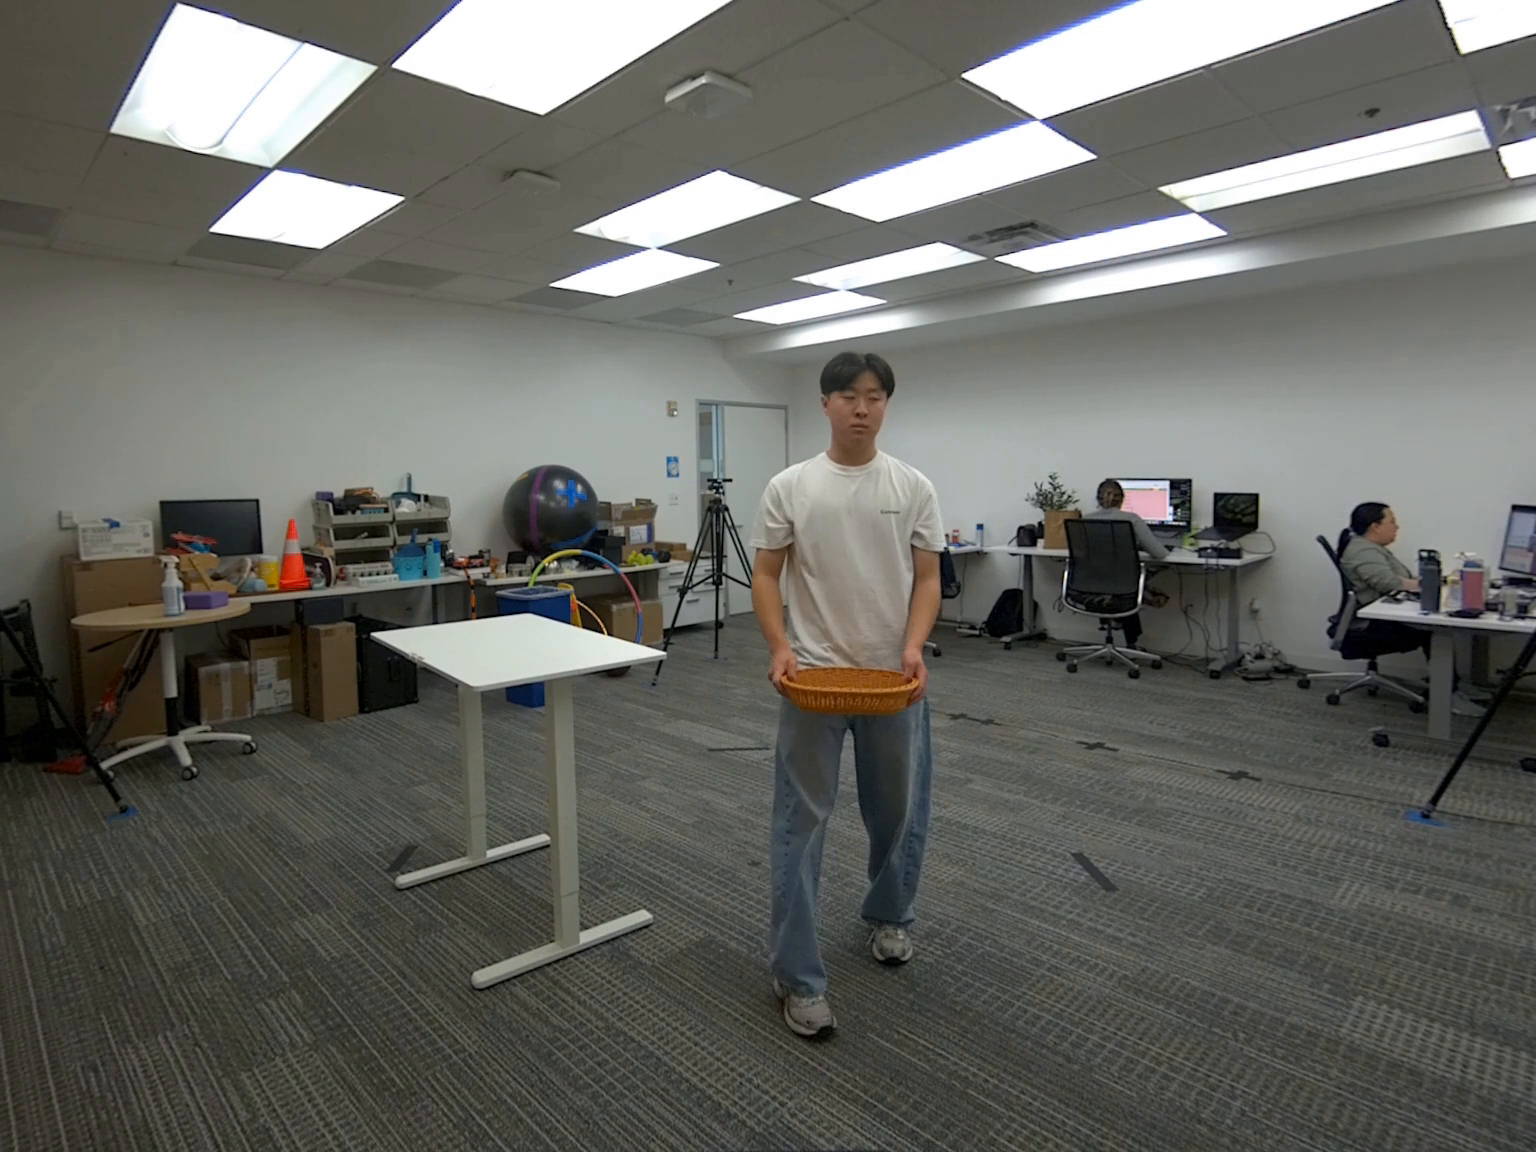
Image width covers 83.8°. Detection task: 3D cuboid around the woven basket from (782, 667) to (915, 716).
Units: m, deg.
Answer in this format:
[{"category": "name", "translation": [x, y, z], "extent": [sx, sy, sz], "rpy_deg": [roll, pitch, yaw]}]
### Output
[{"category": "woven basket", "translation": [0.207, 0.291, 2.177], "extent": [0.357, 0.073, 0.249], "rpy_deg": [2, 8, 21]}]
